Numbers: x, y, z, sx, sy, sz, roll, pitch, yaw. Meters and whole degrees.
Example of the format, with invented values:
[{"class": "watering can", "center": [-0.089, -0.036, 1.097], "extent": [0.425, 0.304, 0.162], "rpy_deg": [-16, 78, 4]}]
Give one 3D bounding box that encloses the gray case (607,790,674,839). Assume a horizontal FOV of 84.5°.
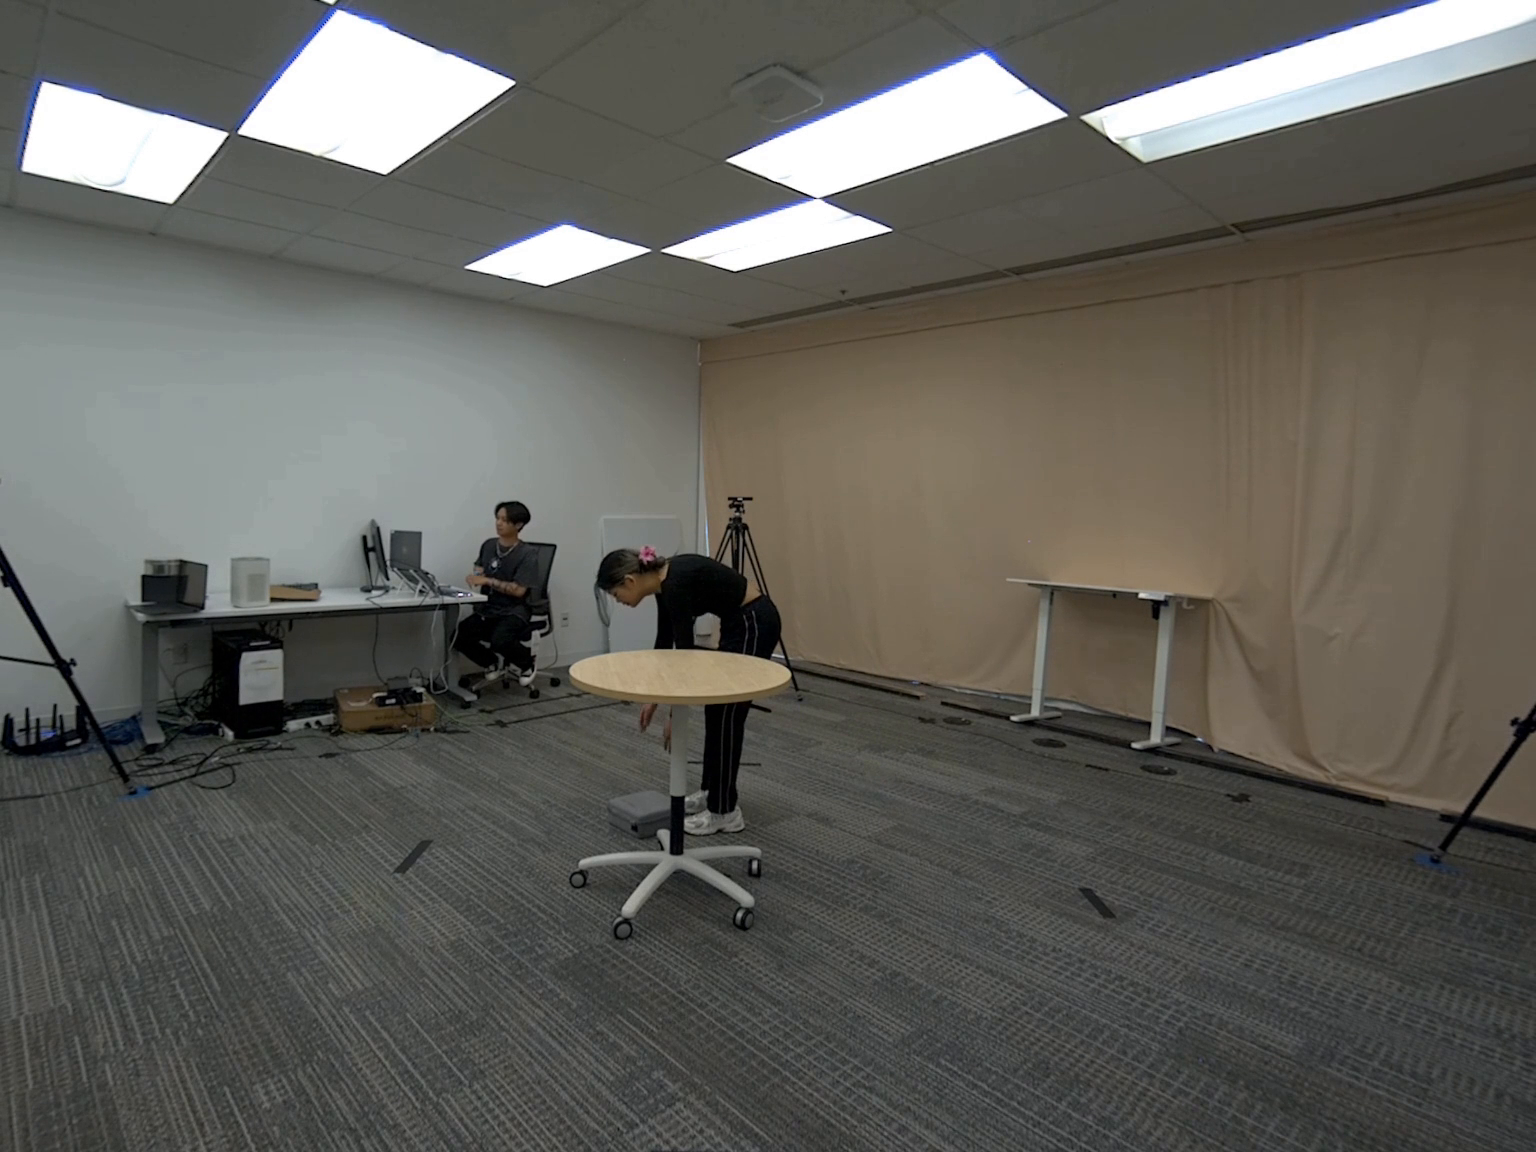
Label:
[{"class": "gray case", "center": [-0.521, 0.998, 3.569], "extent": [0.254, 0.104, 0.263], "rpy_deg": [-1, 5, -43]}]
